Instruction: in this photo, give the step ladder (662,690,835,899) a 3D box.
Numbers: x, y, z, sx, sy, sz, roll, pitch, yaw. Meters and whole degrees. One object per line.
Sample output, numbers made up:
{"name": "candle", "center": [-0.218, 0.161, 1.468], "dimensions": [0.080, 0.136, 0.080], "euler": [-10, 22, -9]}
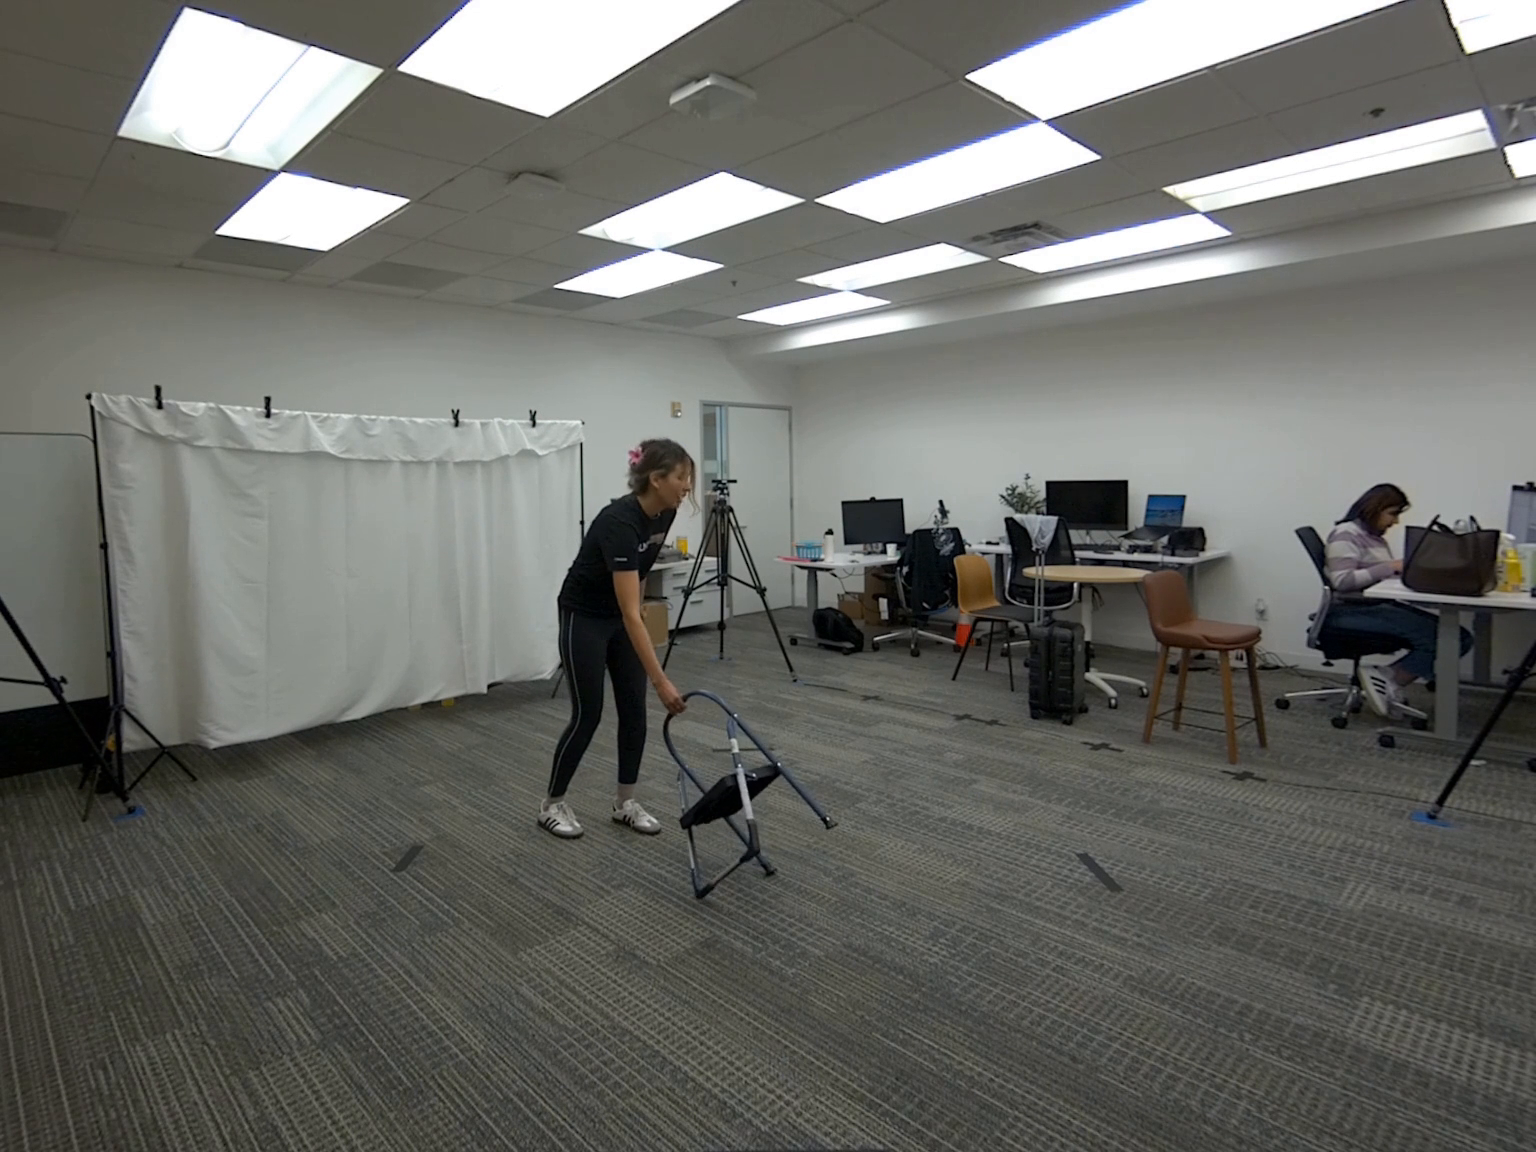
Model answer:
{"name": "step ladder", "center": [-0.138, 0.698, 2.940], "dimensions": [0.340, 0.625, 0.429], "euler": [-3, -36, -40]}
